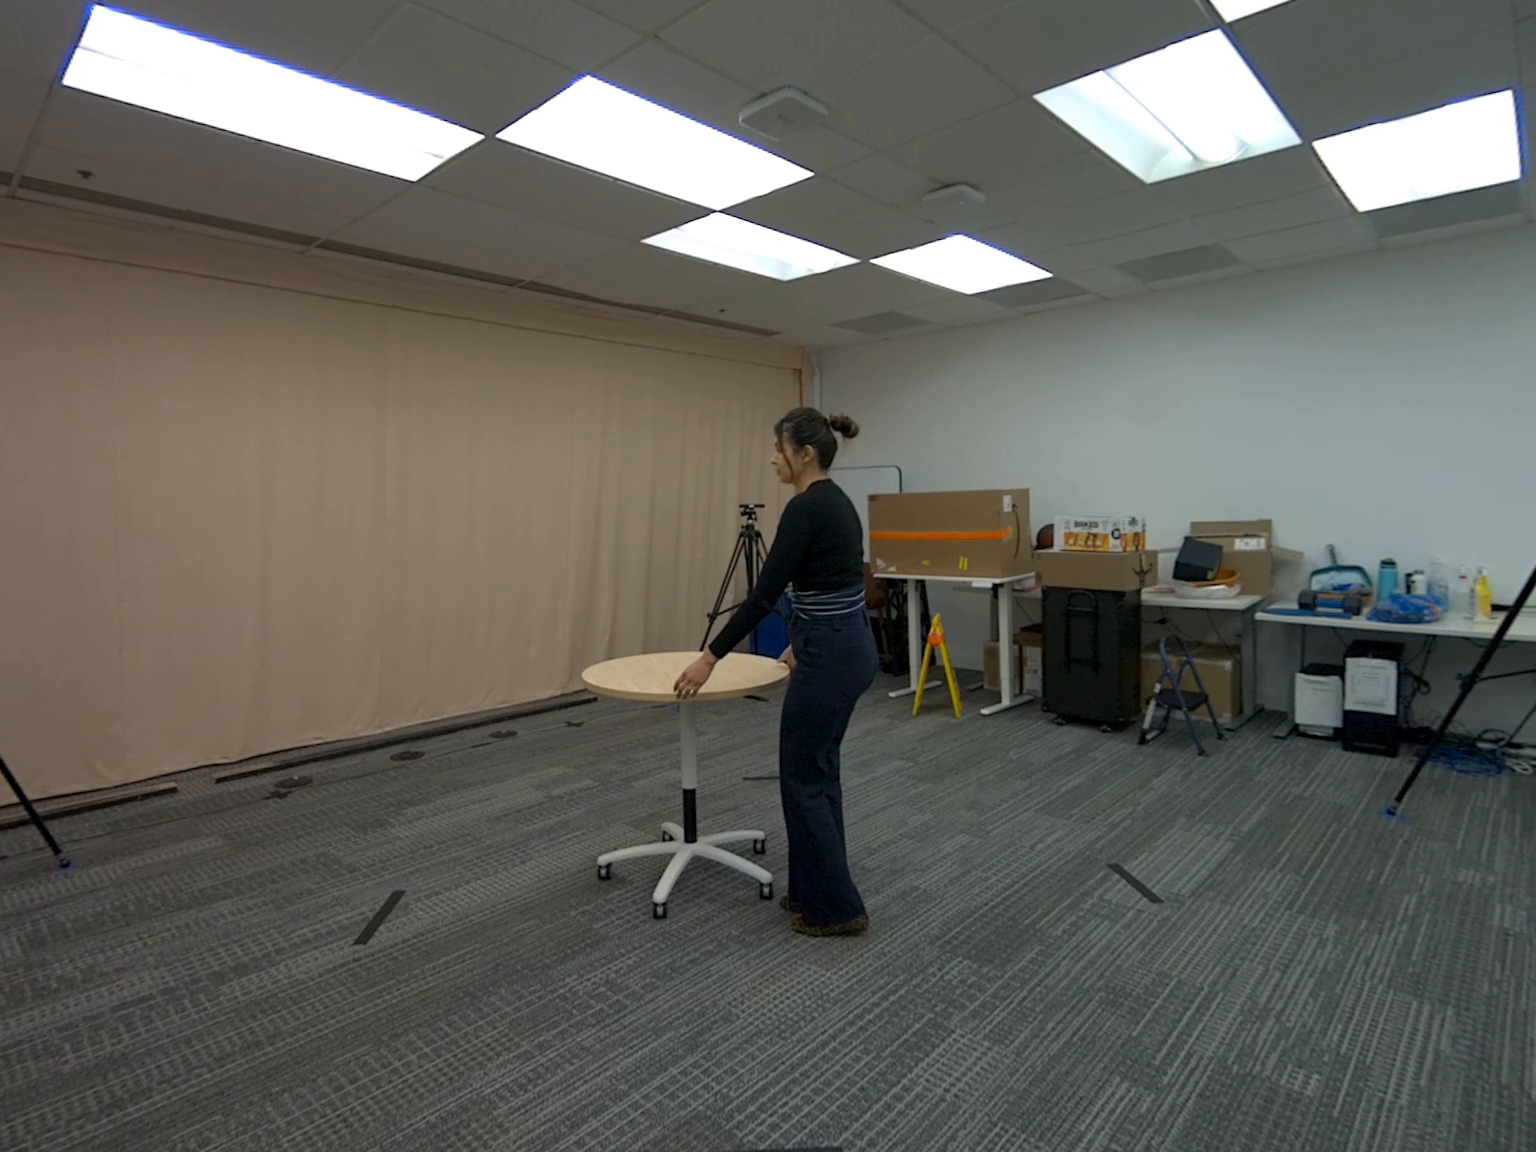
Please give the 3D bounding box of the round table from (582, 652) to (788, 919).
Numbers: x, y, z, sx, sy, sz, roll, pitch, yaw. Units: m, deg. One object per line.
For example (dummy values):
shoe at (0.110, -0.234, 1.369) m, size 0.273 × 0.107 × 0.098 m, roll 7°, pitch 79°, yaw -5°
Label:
round table at (-0.289, 0.742, 3.133) m, size 0.763 × 0.792 × 0.766 m, roll -2°, pitch 4°, yaw -2°
